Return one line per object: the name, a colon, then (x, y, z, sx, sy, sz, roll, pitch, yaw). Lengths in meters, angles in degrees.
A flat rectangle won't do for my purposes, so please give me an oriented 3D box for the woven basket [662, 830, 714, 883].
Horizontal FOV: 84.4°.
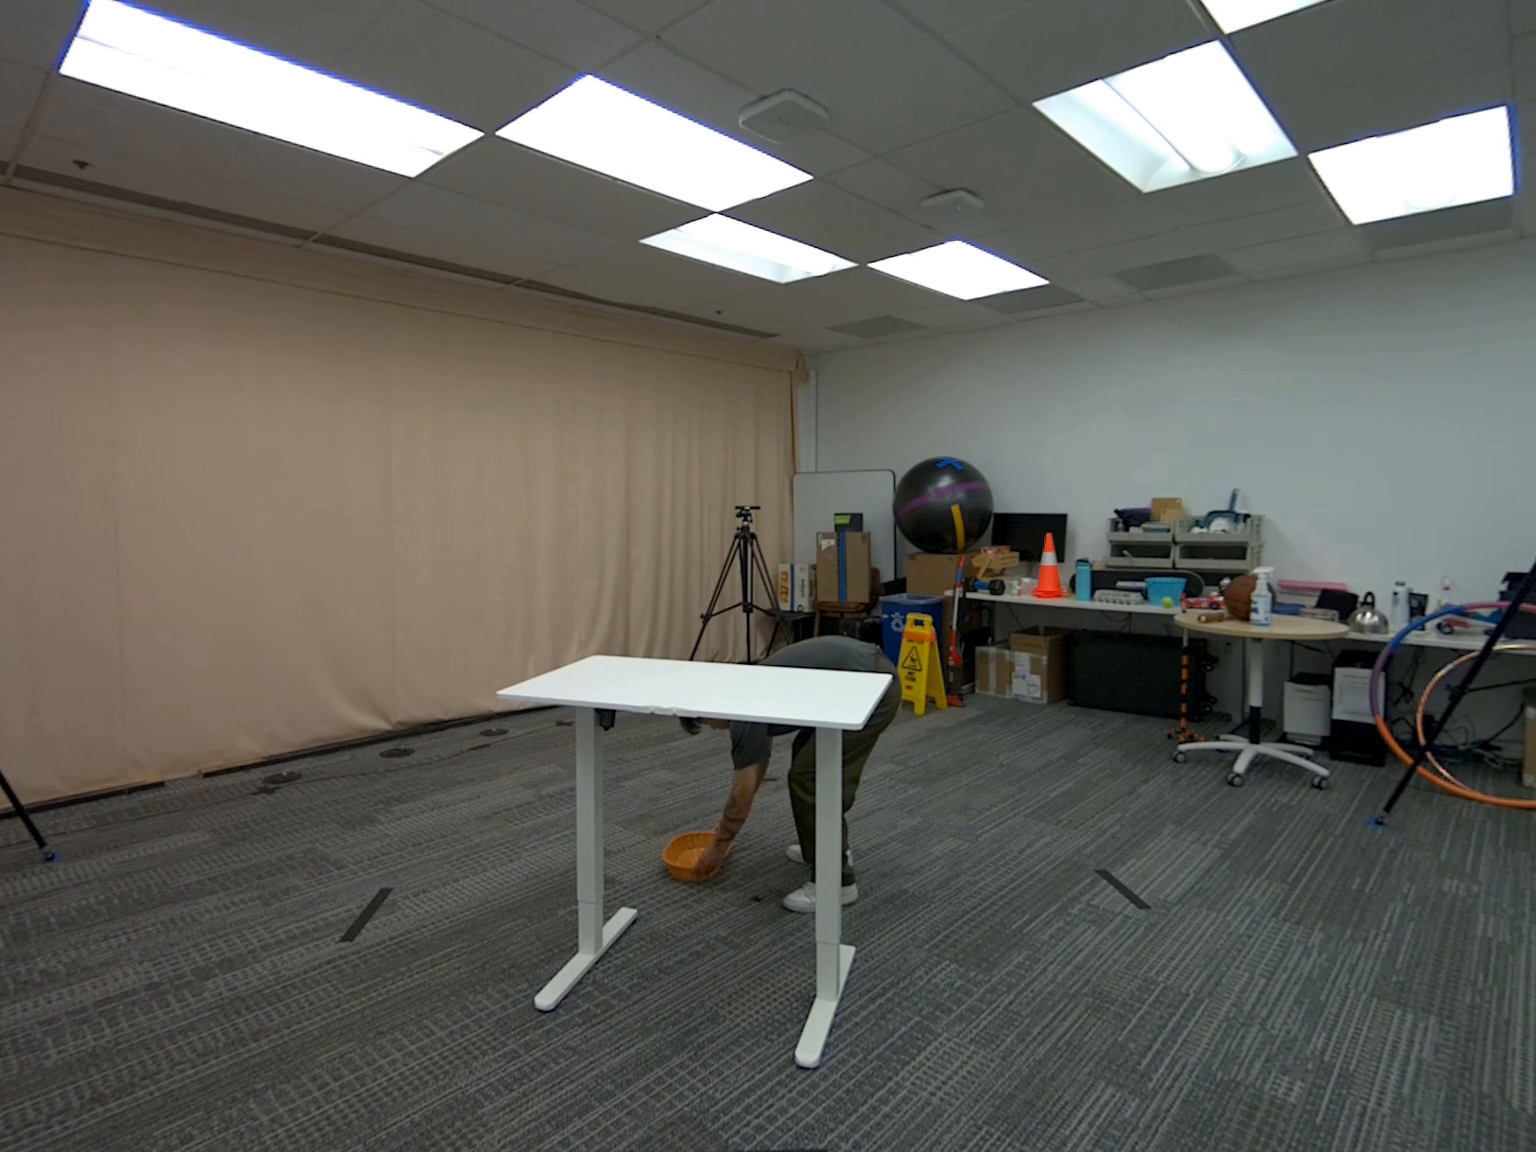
woven basket: (-0.273, 1.084, 3.264, 0.257, 0.073, 0.345, 0, 5, 14)
